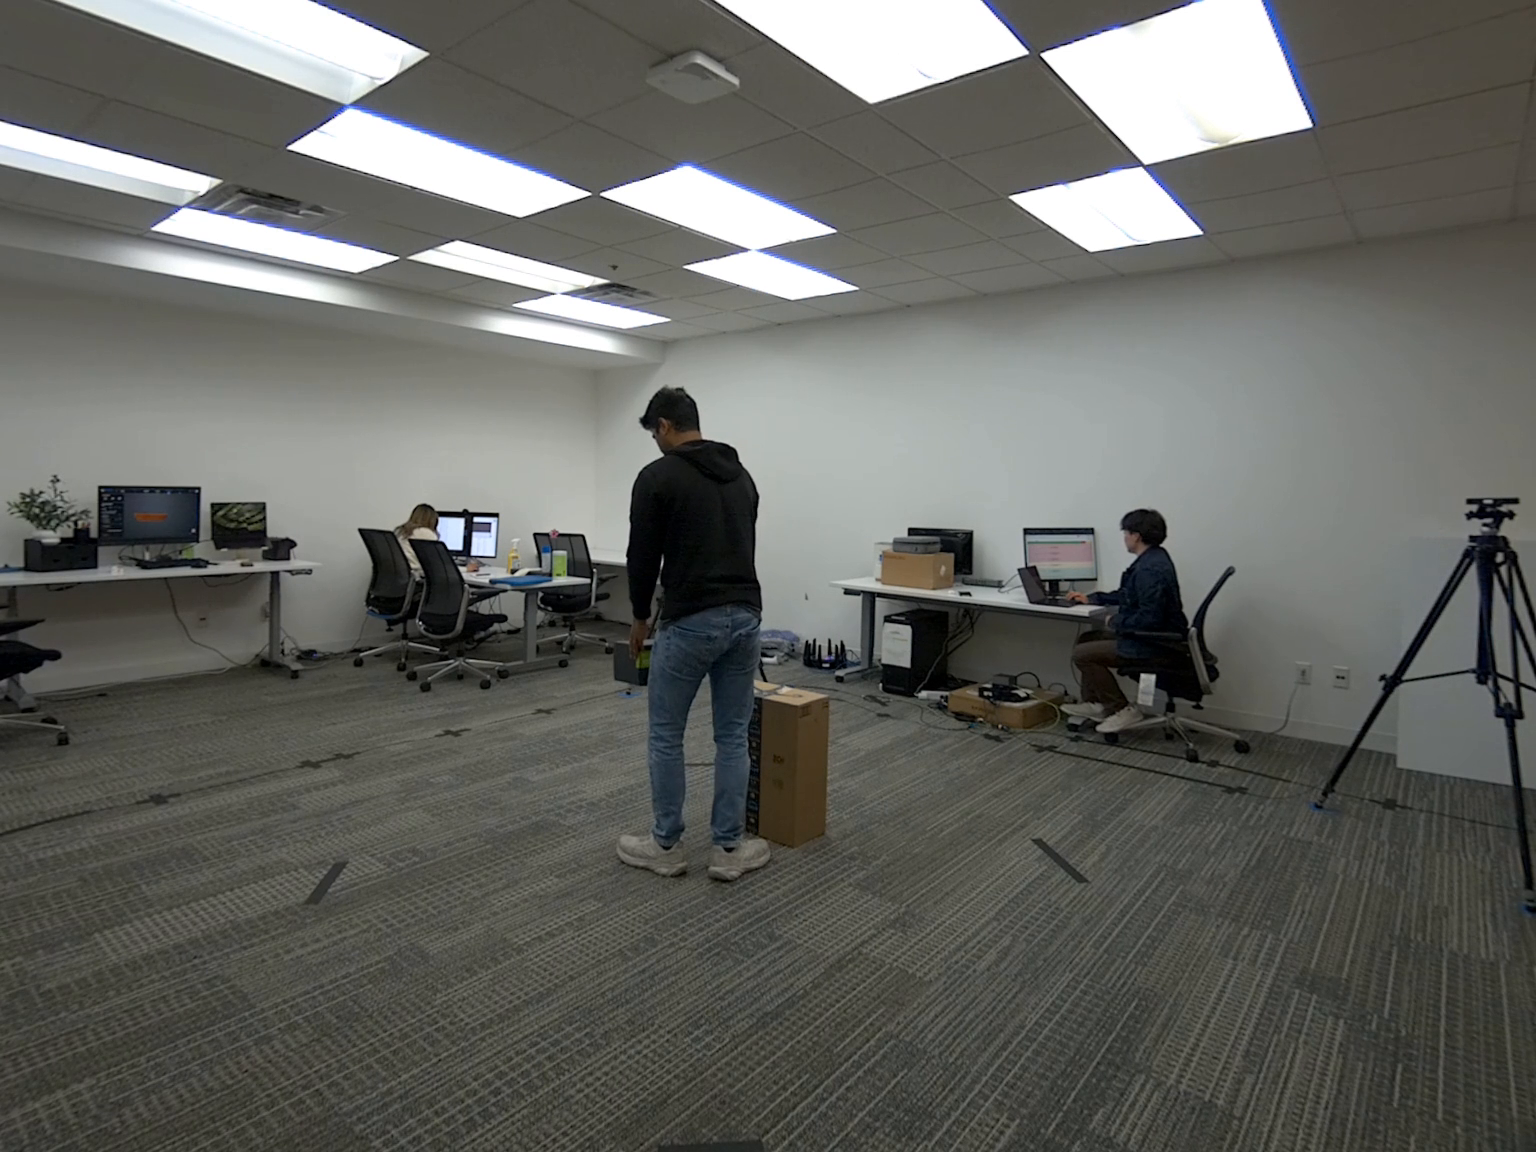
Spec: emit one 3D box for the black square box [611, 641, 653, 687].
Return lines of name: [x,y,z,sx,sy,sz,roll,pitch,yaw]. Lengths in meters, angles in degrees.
black square box: [-0.466,0.345,3.382,0.221,0.156,0.223,0,0,-36]
